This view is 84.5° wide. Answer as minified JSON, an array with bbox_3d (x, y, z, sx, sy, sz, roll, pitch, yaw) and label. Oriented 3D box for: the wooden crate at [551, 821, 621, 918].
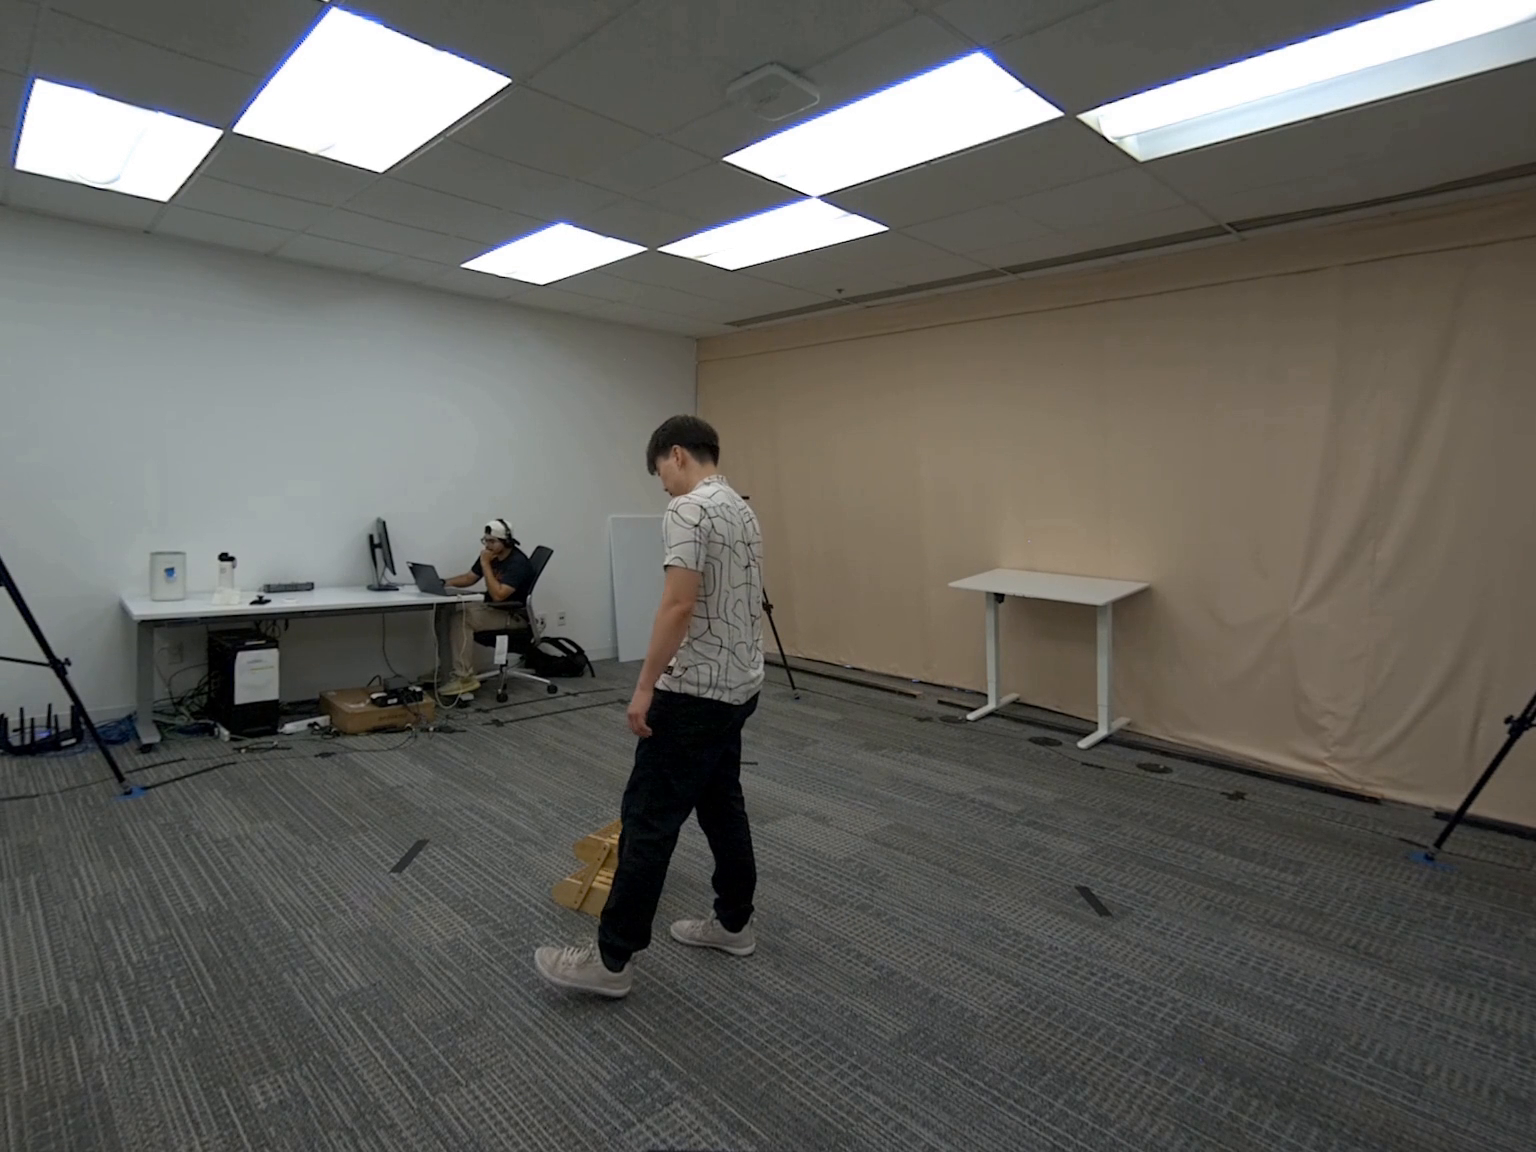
[{"bbox_3d":[-0.551,0.982,2.927,0.308,0.272,0.319,4,5,27],"label":"wooden crate"}]
